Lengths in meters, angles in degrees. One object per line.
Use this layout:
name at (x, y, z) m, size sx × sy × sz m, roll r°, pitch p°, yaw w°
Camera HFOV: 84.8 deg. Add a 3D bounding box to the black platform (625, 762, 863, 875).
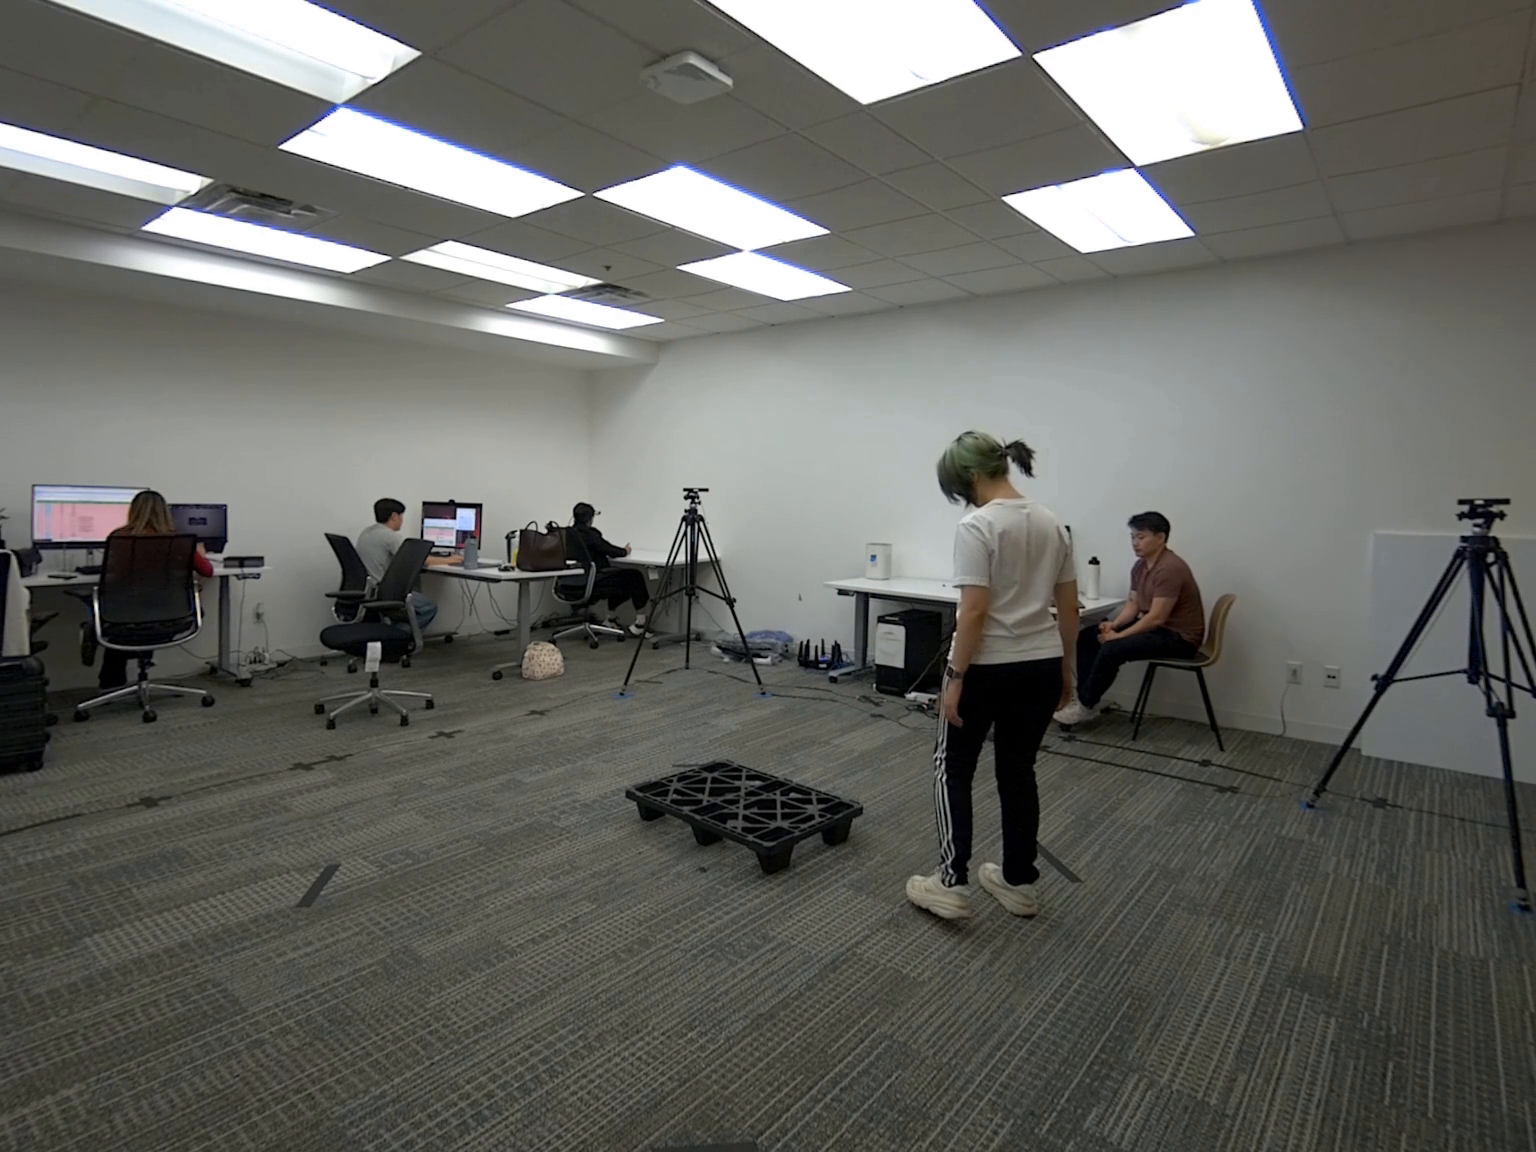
black platform at (-0.118, 0.967, 3.494) m, size 0.833 × 0.143 × 0.587 m, roll 7°, pitch 7°, yaw 42°
